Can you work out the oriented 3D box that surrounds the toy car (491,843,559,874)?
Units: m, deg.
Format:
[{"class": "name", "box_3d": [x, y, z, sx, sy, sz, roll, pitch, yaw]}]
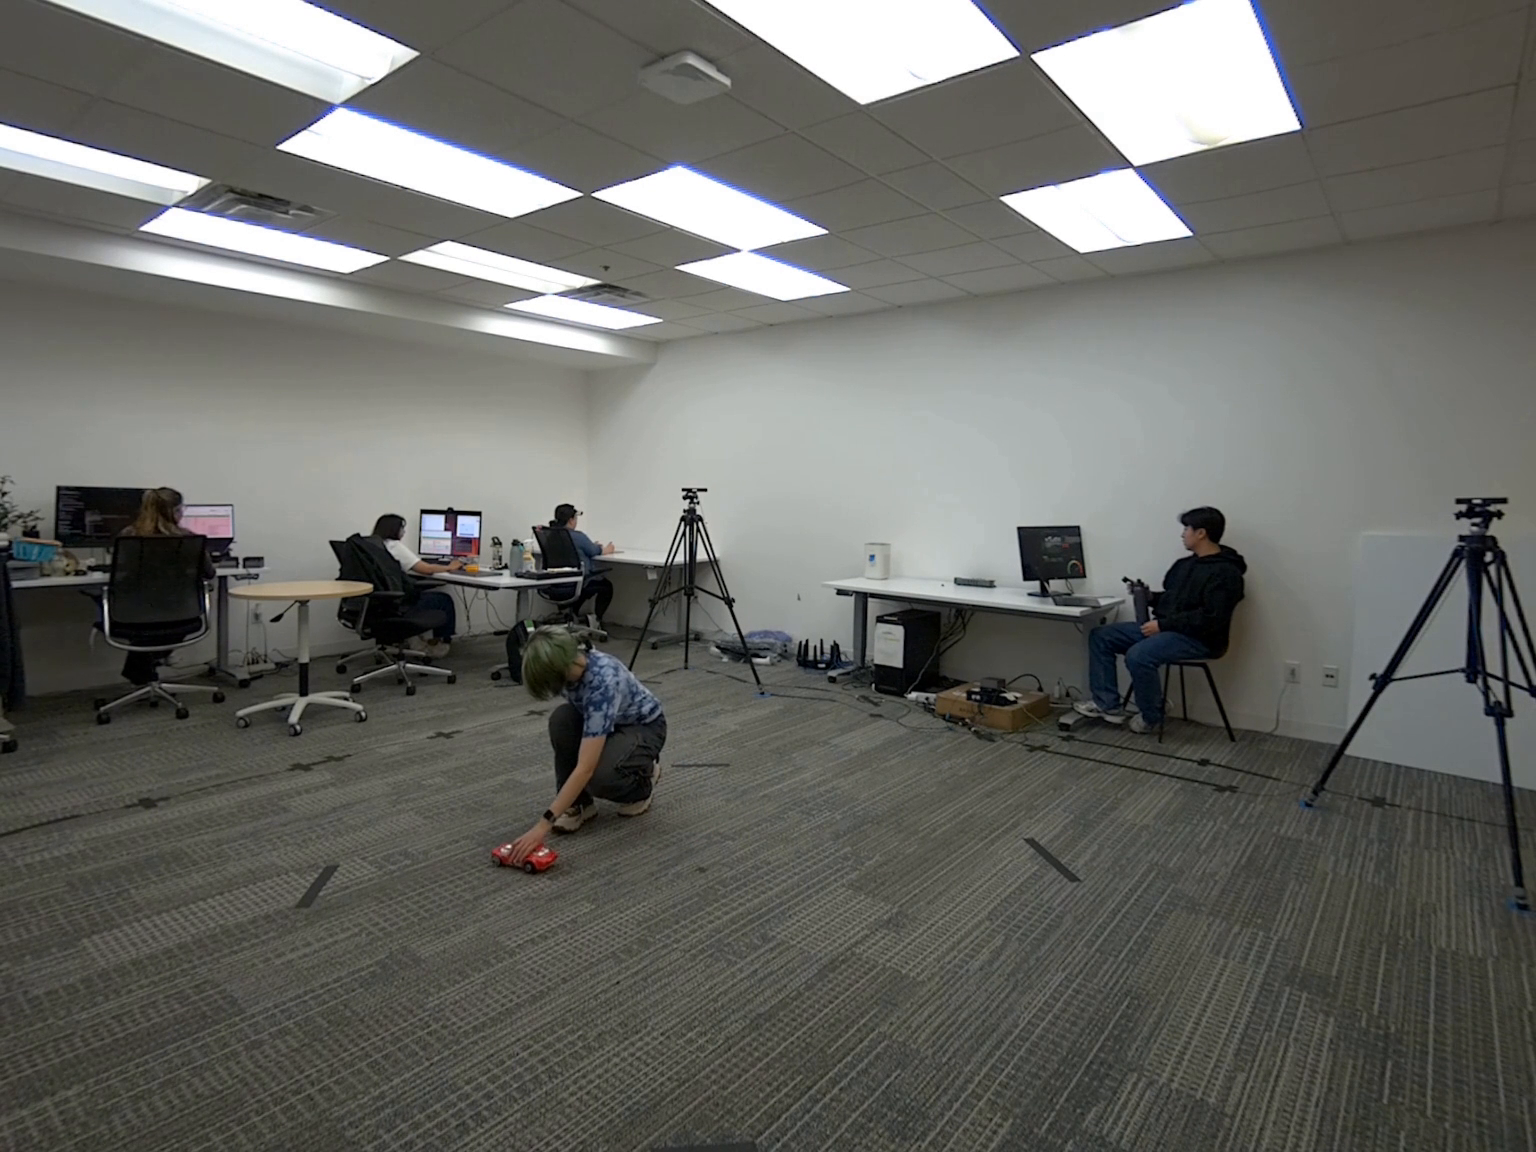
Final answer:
[{"class": "toy car", "box_3d": [-0.902, 1.031, 3.118, 0.259, 0.083, 0.128, -8, 1, 23]}]
